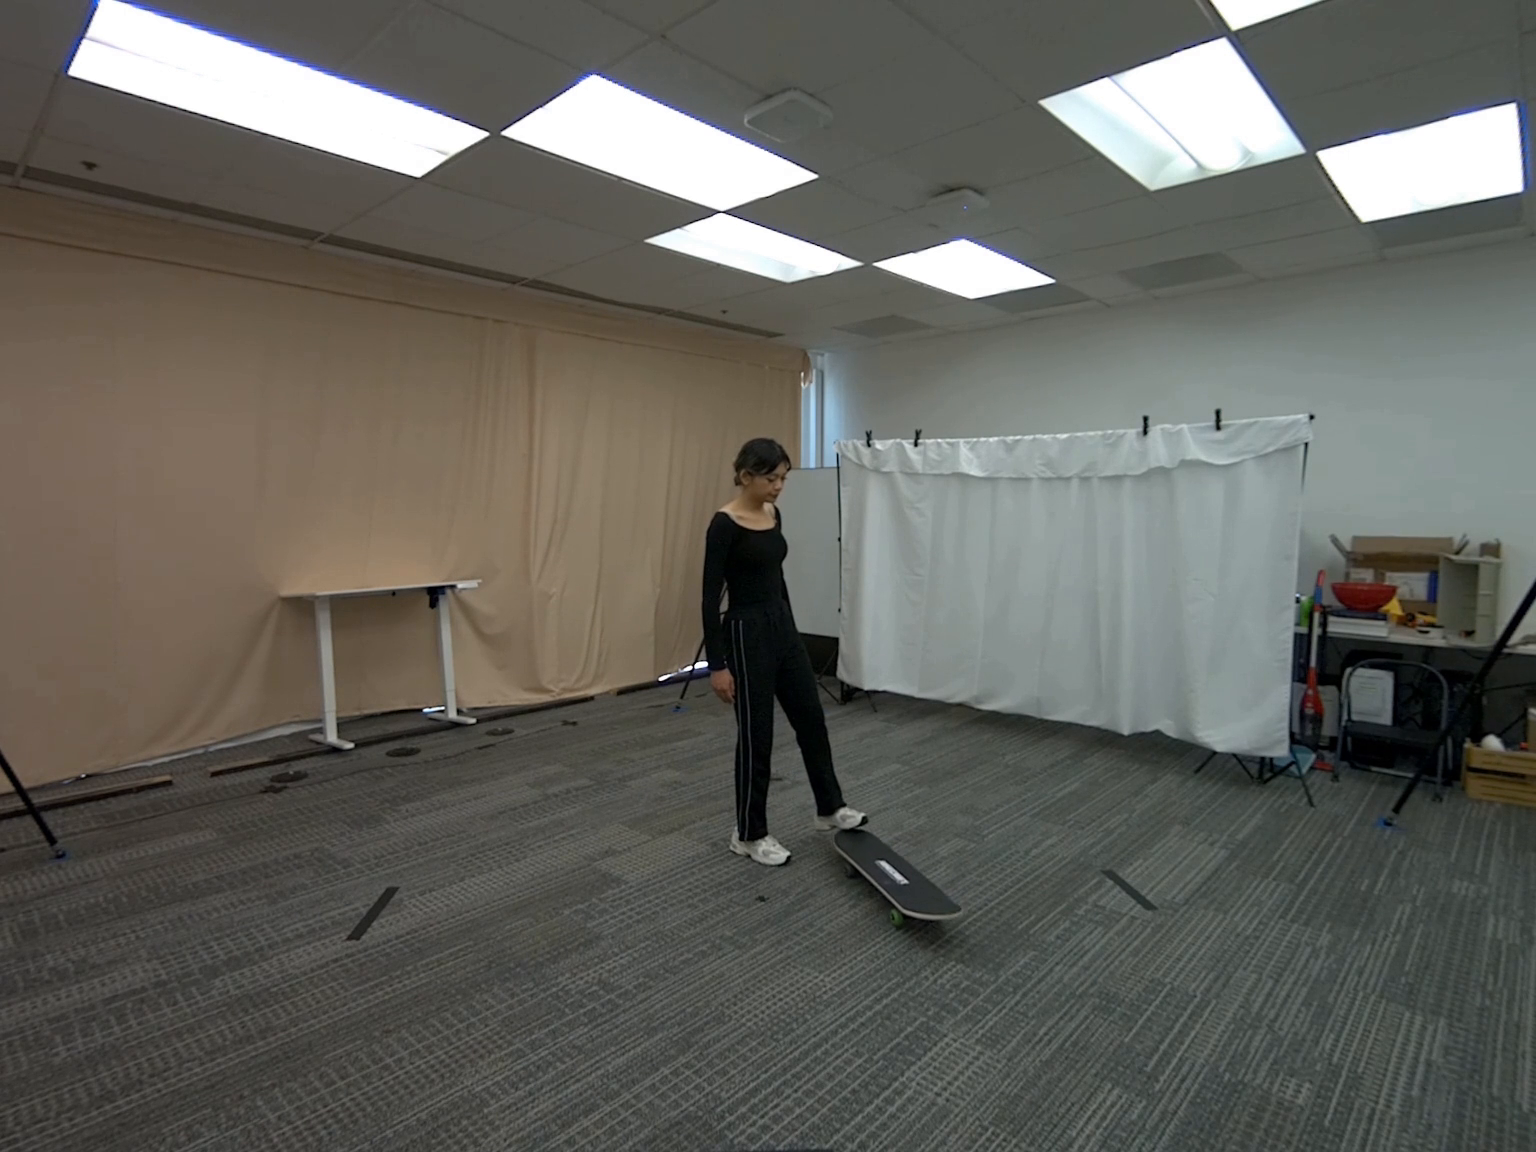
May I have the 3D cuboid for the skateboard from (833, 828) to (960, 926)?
[{"bbox_3d":[0.447,1.081,2.983,0.190,0.110,0.799,-3,4,-16],"label":"skateboard"}]
